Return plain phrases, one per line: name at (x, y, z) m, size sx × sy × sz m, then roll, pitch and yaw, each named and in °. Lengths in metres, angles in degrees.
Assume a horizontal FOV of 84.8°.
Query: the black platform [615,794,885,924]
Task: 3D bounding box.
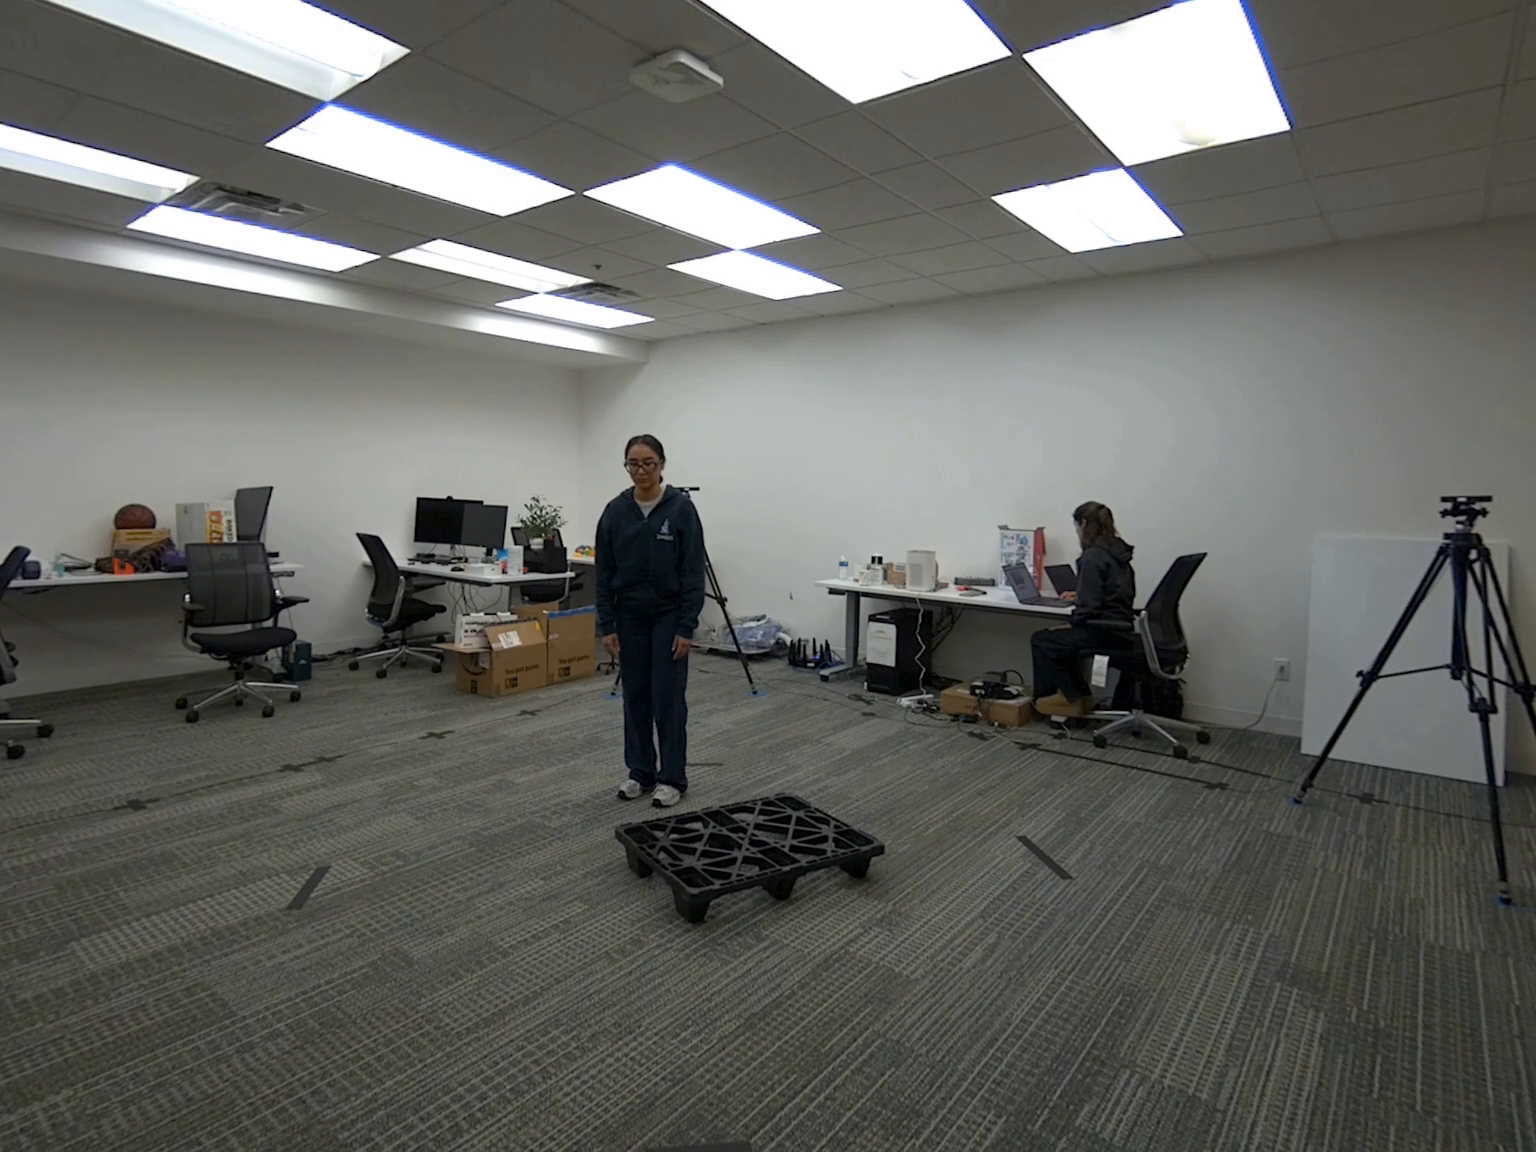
black platform at (-0.080, 1.004, 3.087) m, size 0.783 × 0.143 × 0.625 m, roll -3°, pitch 7°, yaw -32°
